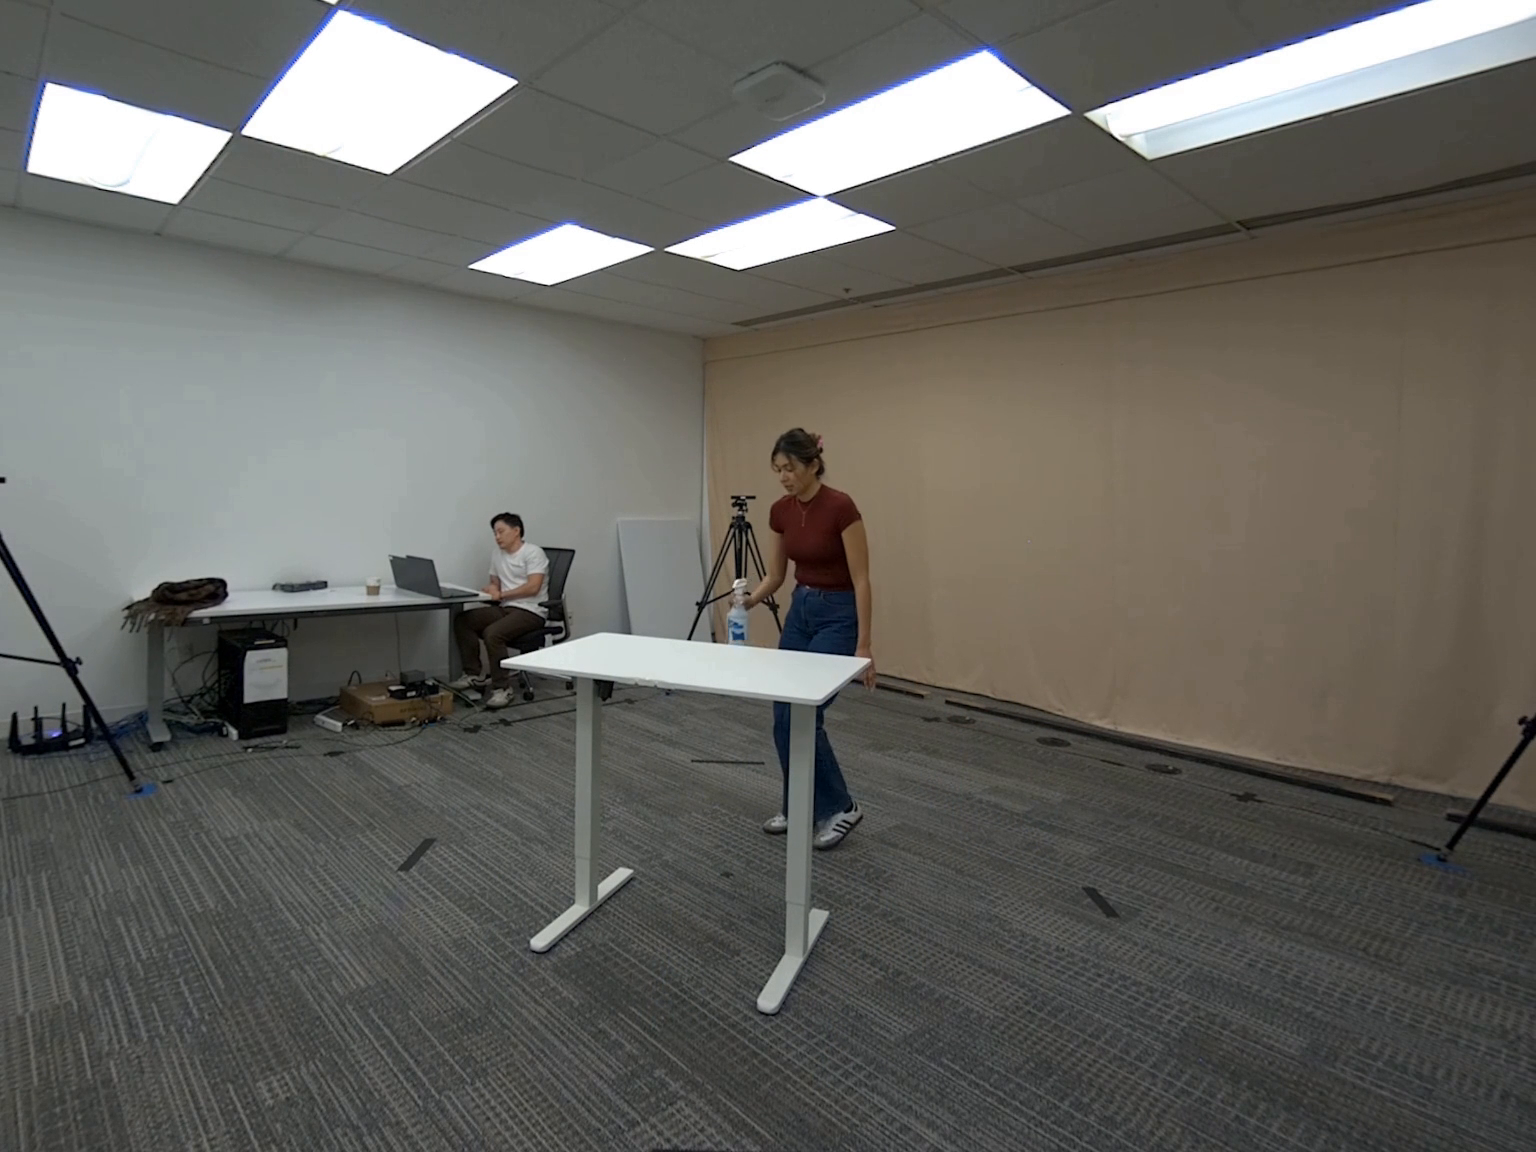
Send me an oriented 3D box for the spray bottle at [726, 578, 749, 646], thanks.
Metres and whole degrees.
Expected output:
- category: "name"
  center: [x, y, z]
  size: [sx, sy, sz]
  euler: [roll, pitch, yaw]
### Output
- category: "spray bottle"
  center: [-0.121, 0.167, 3.299]
  size: [0.088, 0.296, 0.089]
  euler: [-1, 5, -34]
